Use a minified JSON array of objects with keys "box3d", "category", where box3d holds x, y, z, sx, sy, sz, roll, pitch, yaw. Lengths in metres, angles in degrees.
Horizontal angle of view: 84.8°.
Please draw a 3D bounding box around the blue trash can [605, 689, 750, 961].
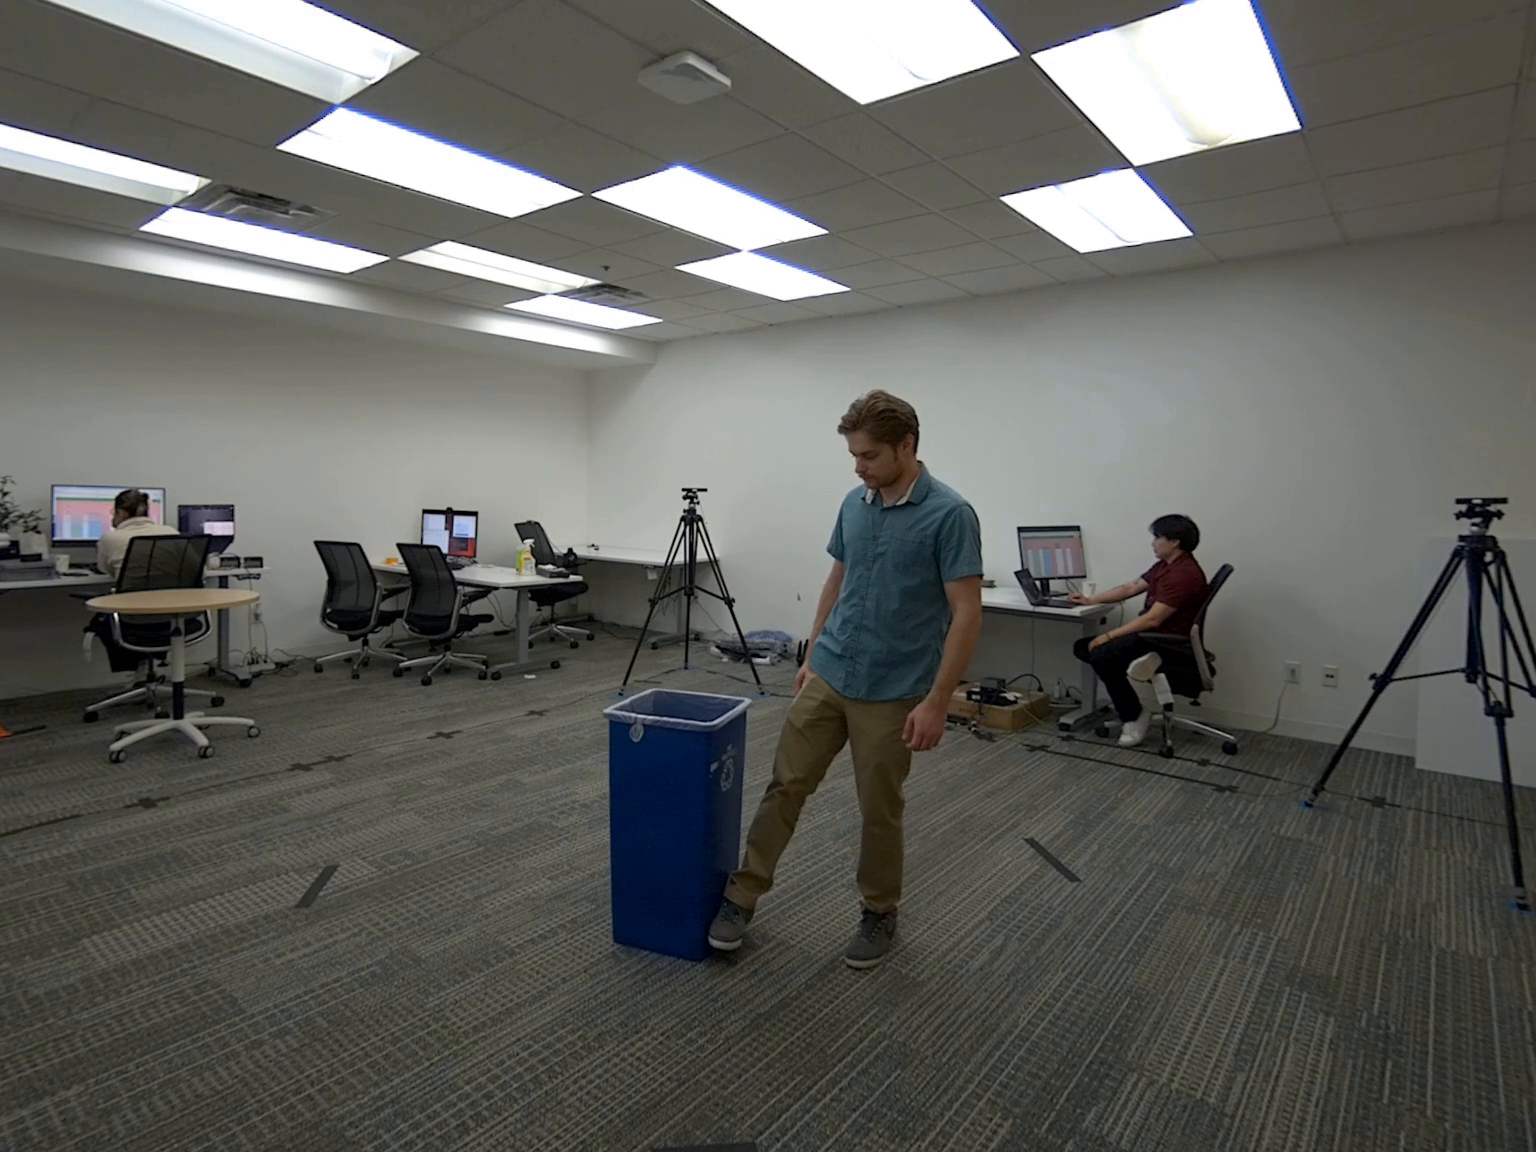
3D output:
[{"box3d":[-0.294,0.753,2.674,0.386,0.712,0.367,2,3,19],"category":"blue trash can"}]
